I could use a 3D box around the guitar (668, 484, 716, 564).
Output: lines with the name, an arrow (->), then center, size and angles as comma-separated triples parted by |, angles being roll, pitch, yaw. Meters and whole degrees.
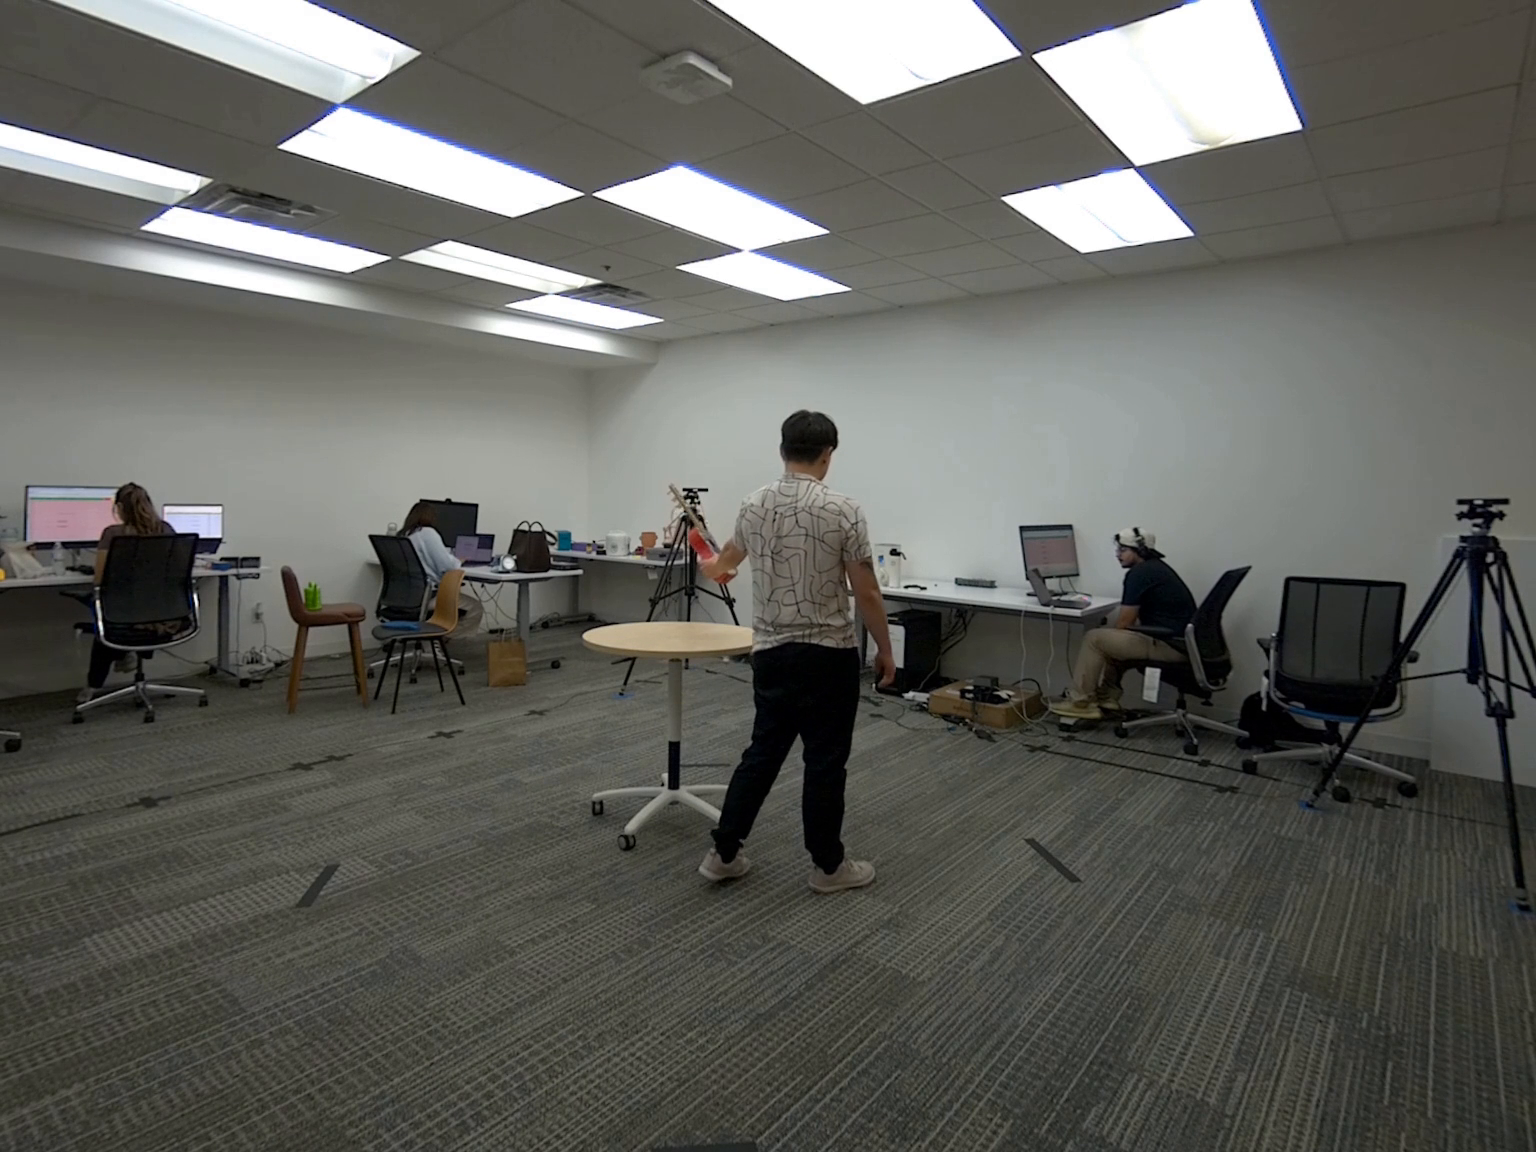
guitar -> -0.298, -0.186, 3.686 | 0.071, 0.513, 0.187 | -39, -23, 15
